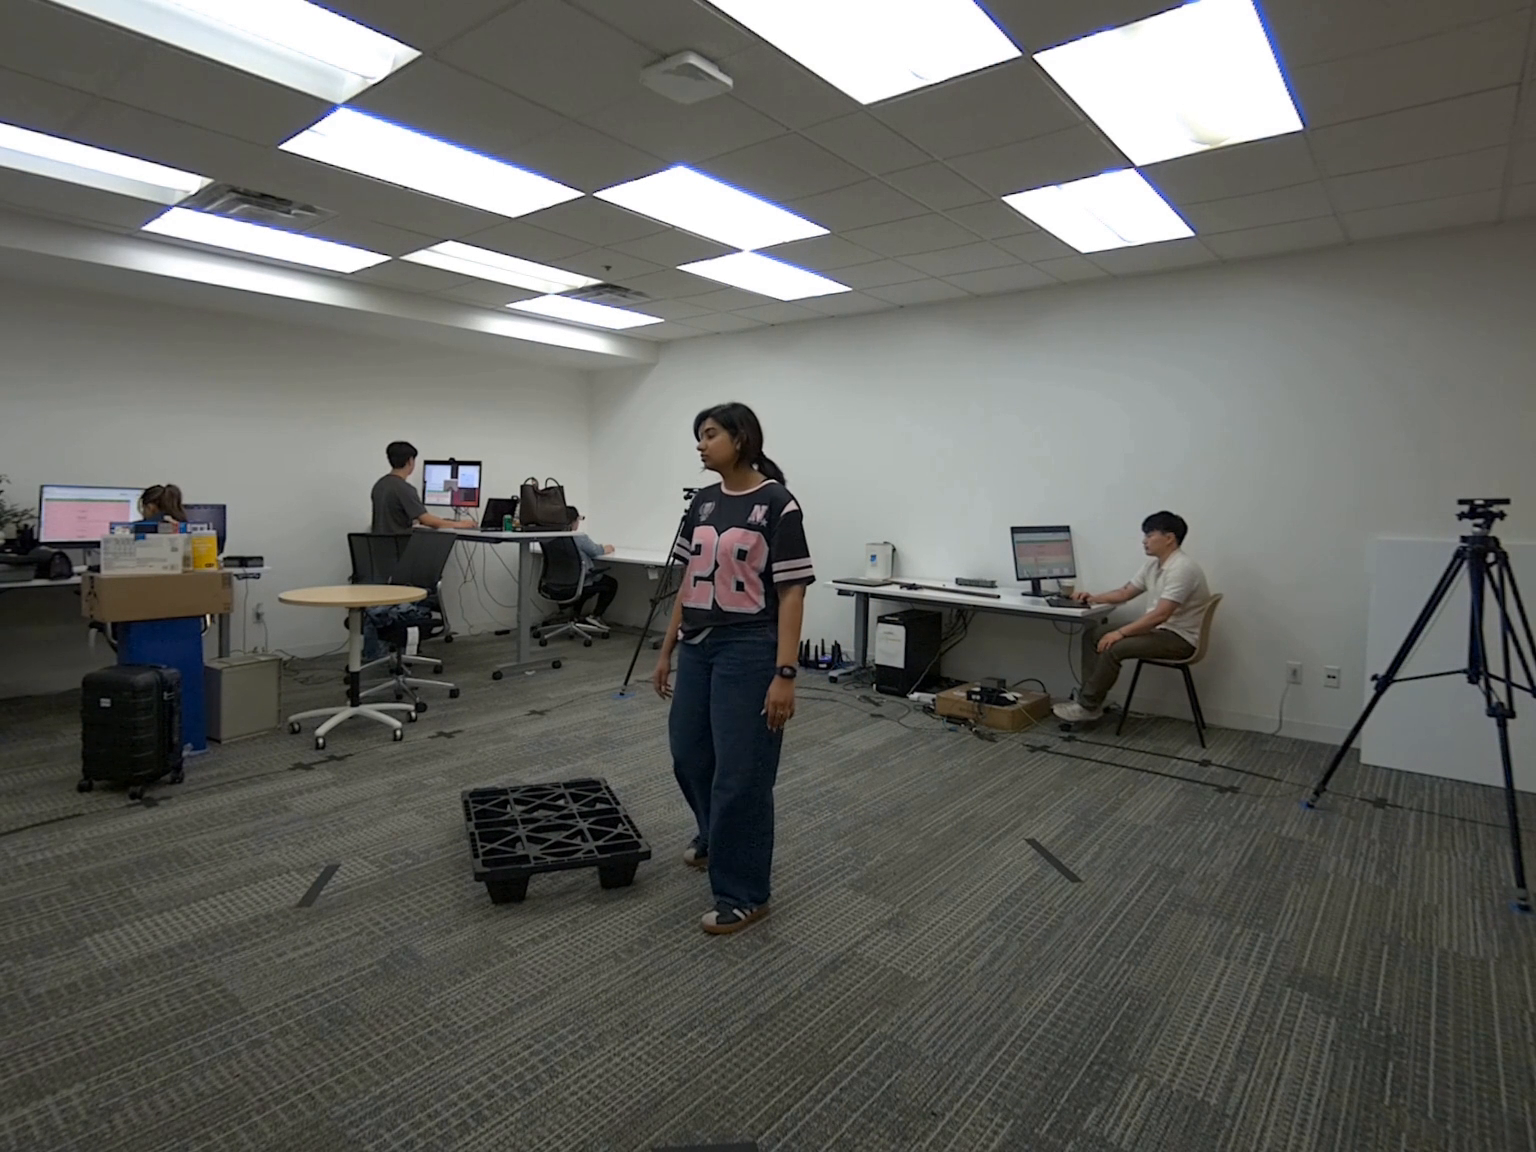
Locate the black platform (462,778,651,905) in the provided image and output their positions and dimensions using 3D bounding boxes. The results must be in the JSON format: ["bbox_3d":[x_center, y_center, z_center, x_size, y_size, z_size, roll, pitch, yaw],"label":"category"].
[{"bbox_3d":[-0.849,0.981,3.224,0.593,0.143,0.825,-2,6,-22],"label":"black platform"}]
